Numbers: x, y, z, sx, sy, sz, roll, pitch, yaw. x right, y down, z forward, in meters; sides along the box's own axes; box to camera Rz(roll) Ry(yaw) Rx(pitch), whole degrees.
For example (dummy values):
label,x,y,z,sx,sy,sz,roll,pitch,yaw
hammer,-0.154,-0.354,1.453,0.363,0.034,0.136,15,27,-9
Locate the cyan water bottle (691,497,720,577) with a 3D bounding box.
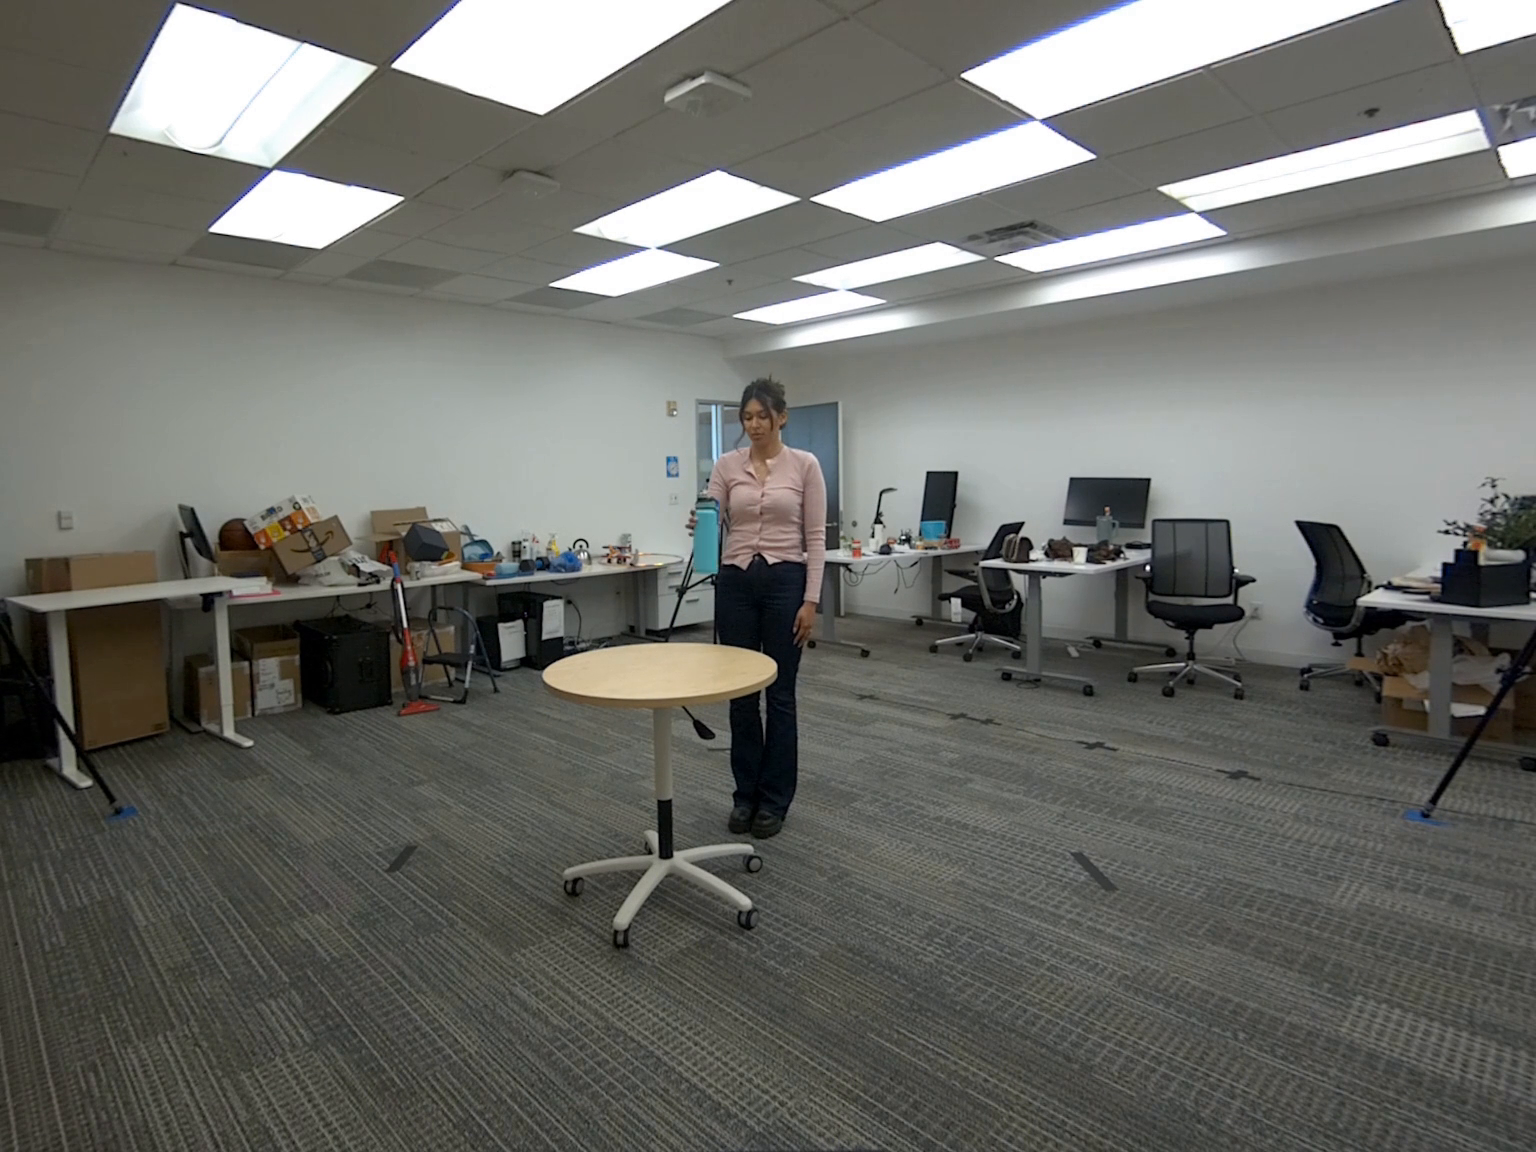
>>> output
label,x,y,z,sx,sy,sz,roll,pitch,yaw
cyan water bottle,-0.208,-0.147,3.048,0.092,0.284,0.092,5,-2,-2
